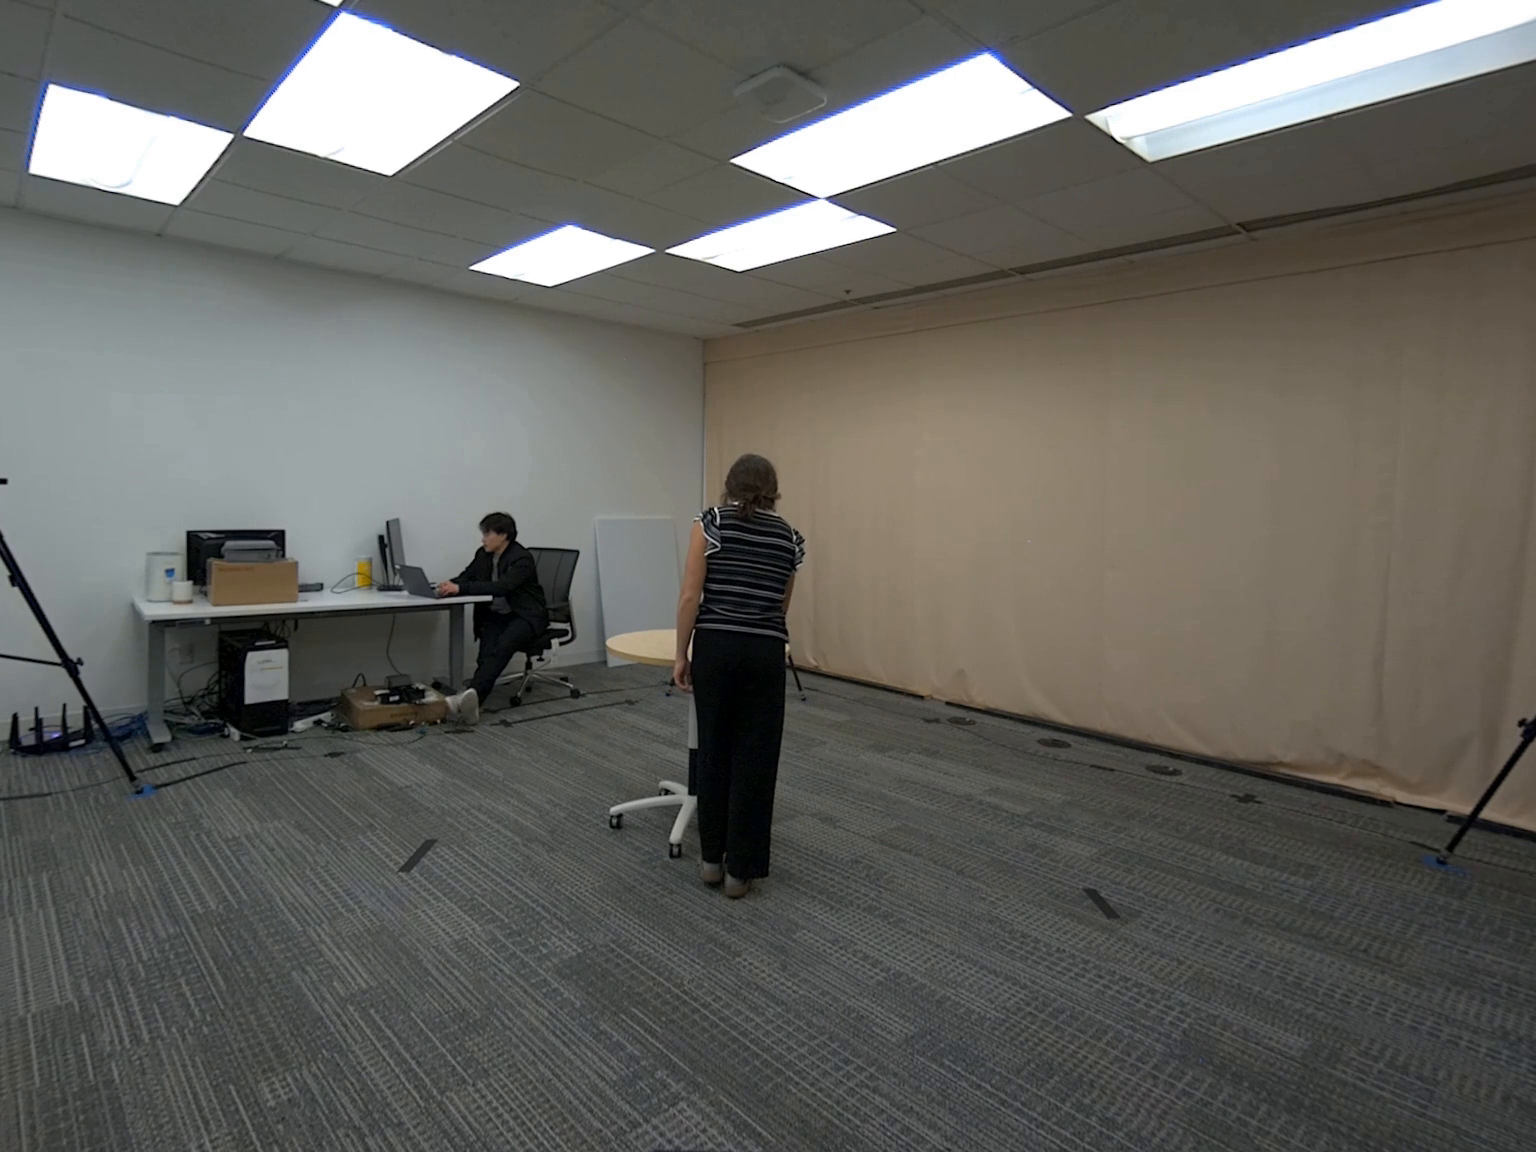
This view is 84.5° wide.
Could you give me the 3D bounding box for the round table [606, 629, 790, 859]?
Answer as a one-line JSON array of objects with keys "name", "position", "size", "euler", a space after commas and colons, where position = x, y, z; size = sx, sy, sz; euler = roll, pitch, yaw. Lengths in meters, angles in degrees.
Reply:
[{"name": "round table", "position": [-0.317, 0.676, 3.546], "size": [0.763, 0.792, 0.767], "euler": [2, 4, -2]}]
